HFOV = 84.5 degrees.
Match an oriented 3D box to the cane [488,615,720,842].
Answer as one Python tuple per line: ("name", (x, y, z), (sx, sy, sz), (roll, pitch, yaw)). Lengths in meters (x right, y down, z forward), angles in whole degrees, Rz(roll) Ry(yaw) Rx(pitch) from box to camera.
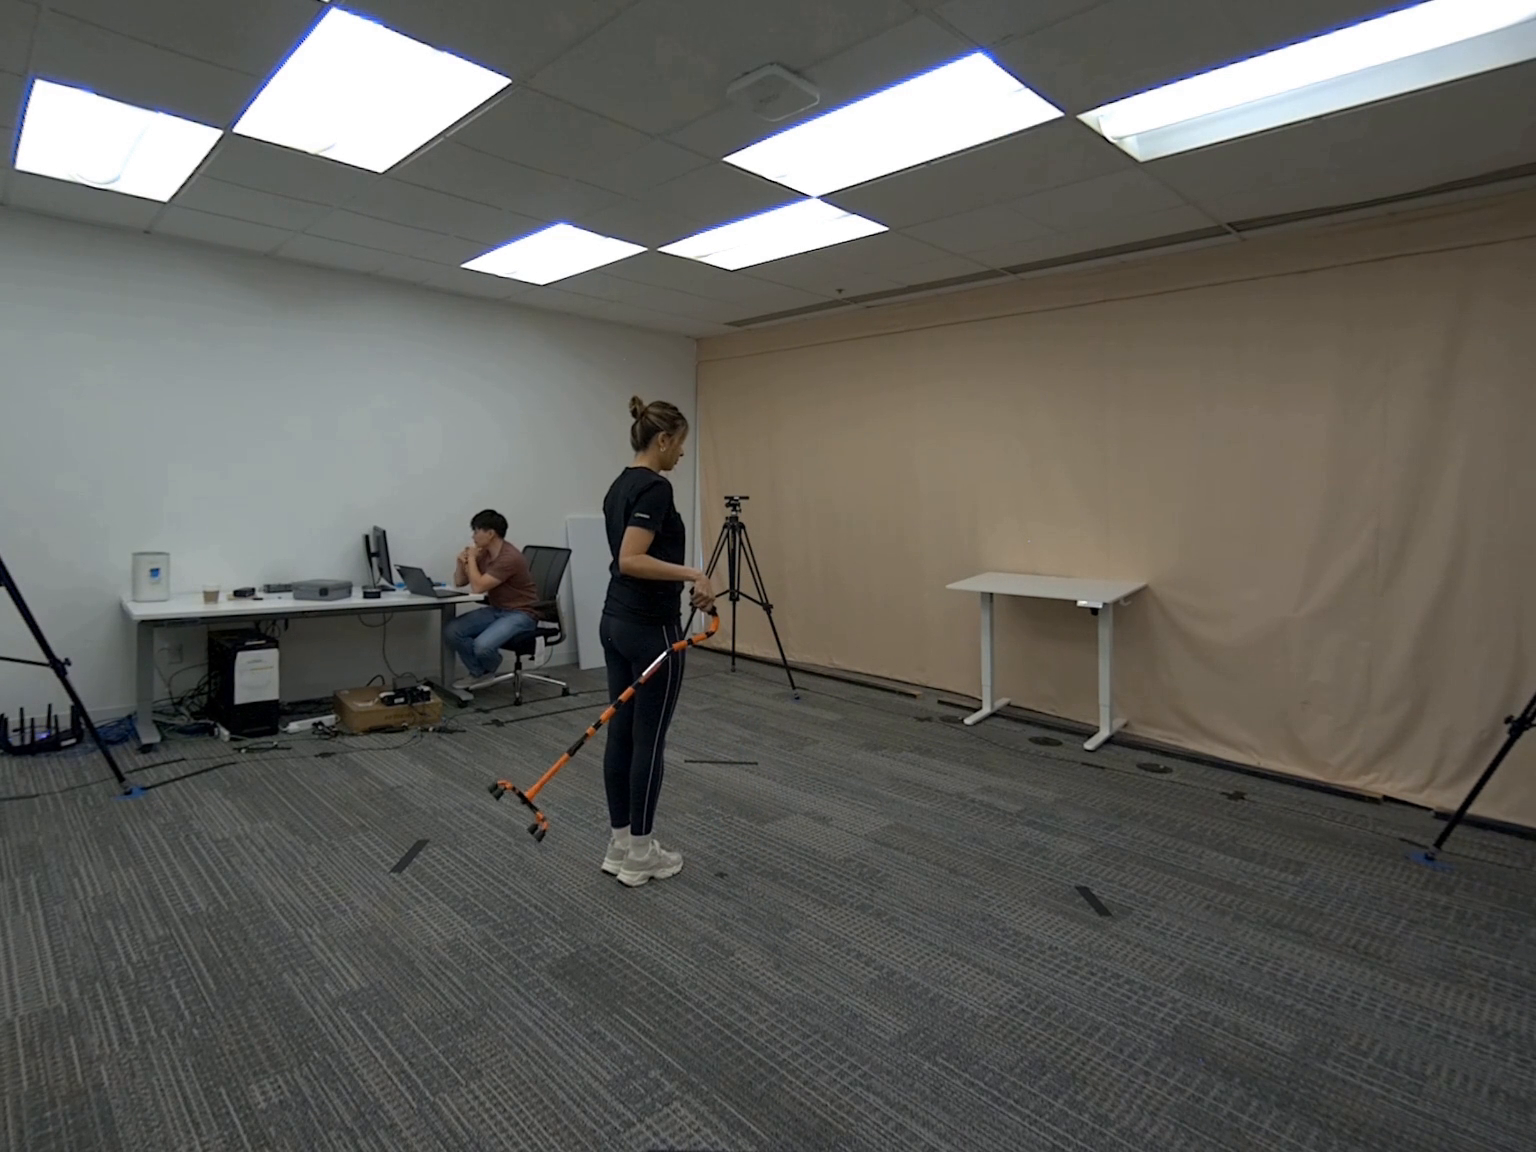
("cane", (-0.463, 0.434, 2.672), (0.908, 0.203, 0.154), (-48, 15, -22))
